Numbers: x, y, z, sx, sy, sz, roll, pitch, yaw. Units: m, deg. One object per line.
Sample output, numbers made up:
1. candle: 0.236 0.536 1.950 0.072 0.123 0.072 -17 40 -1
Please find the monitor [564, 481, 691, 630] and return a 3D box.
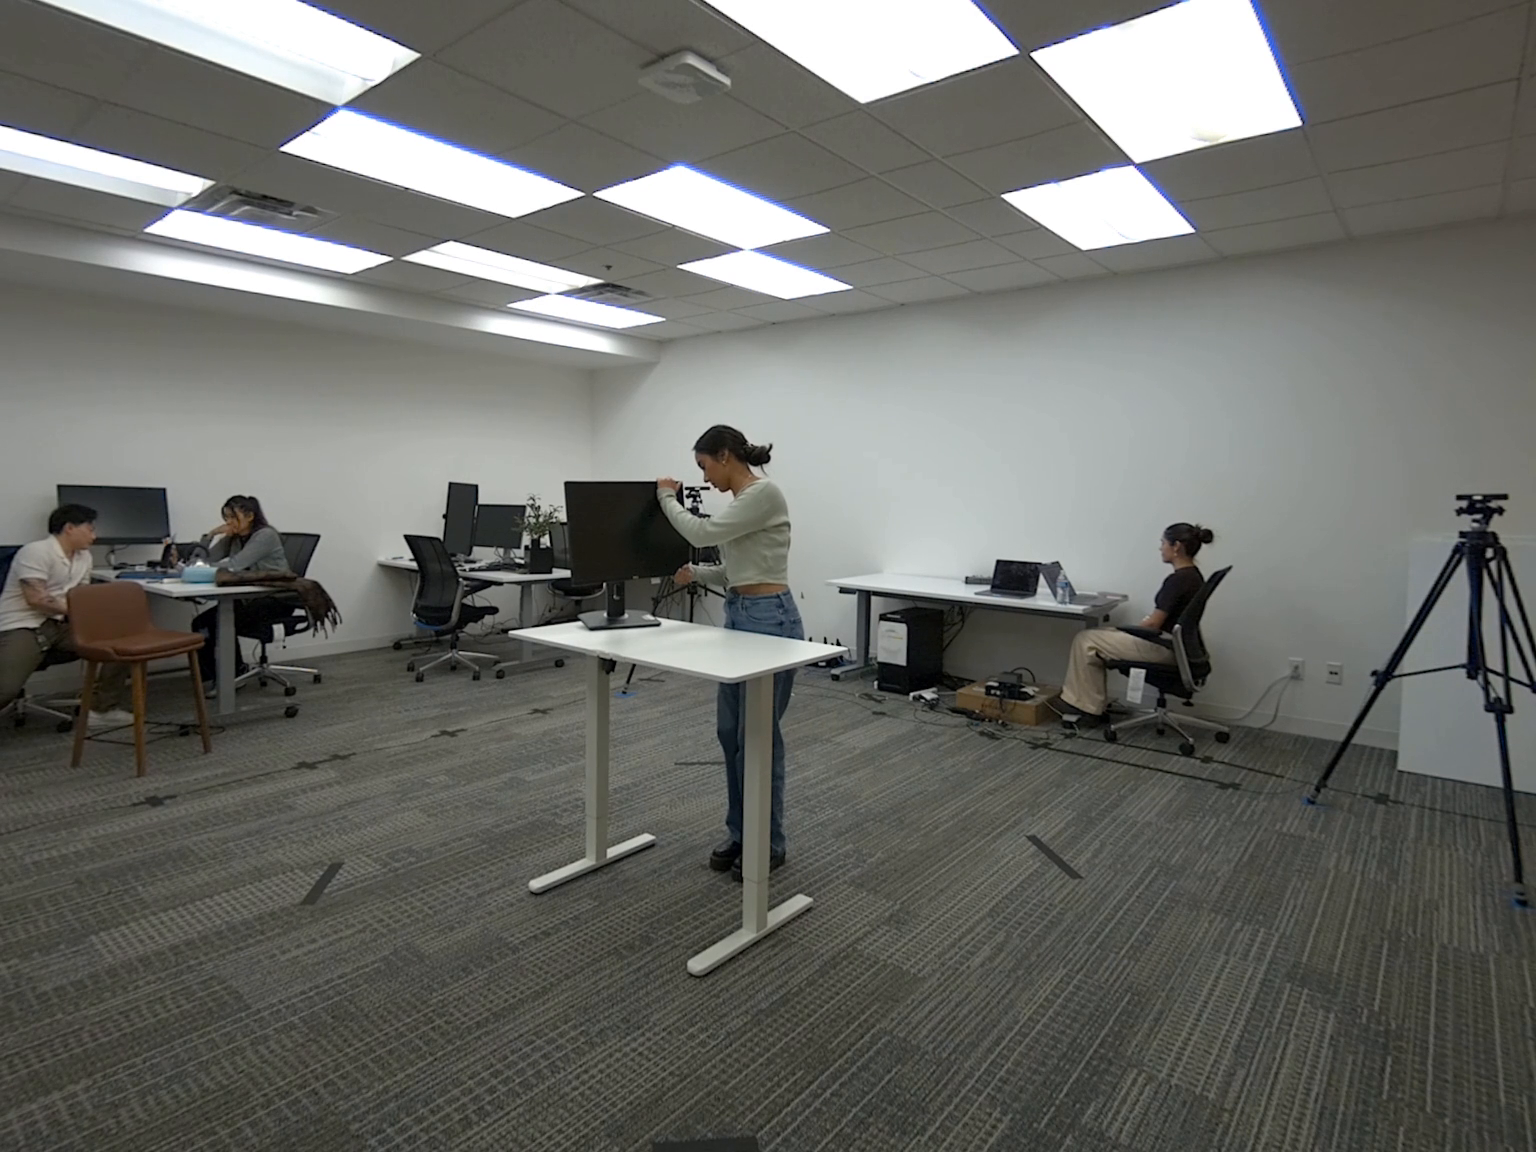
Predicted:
1. monitor: -0.535 -0.083 3.069 0.194 0.518 0.524 13 13 40
